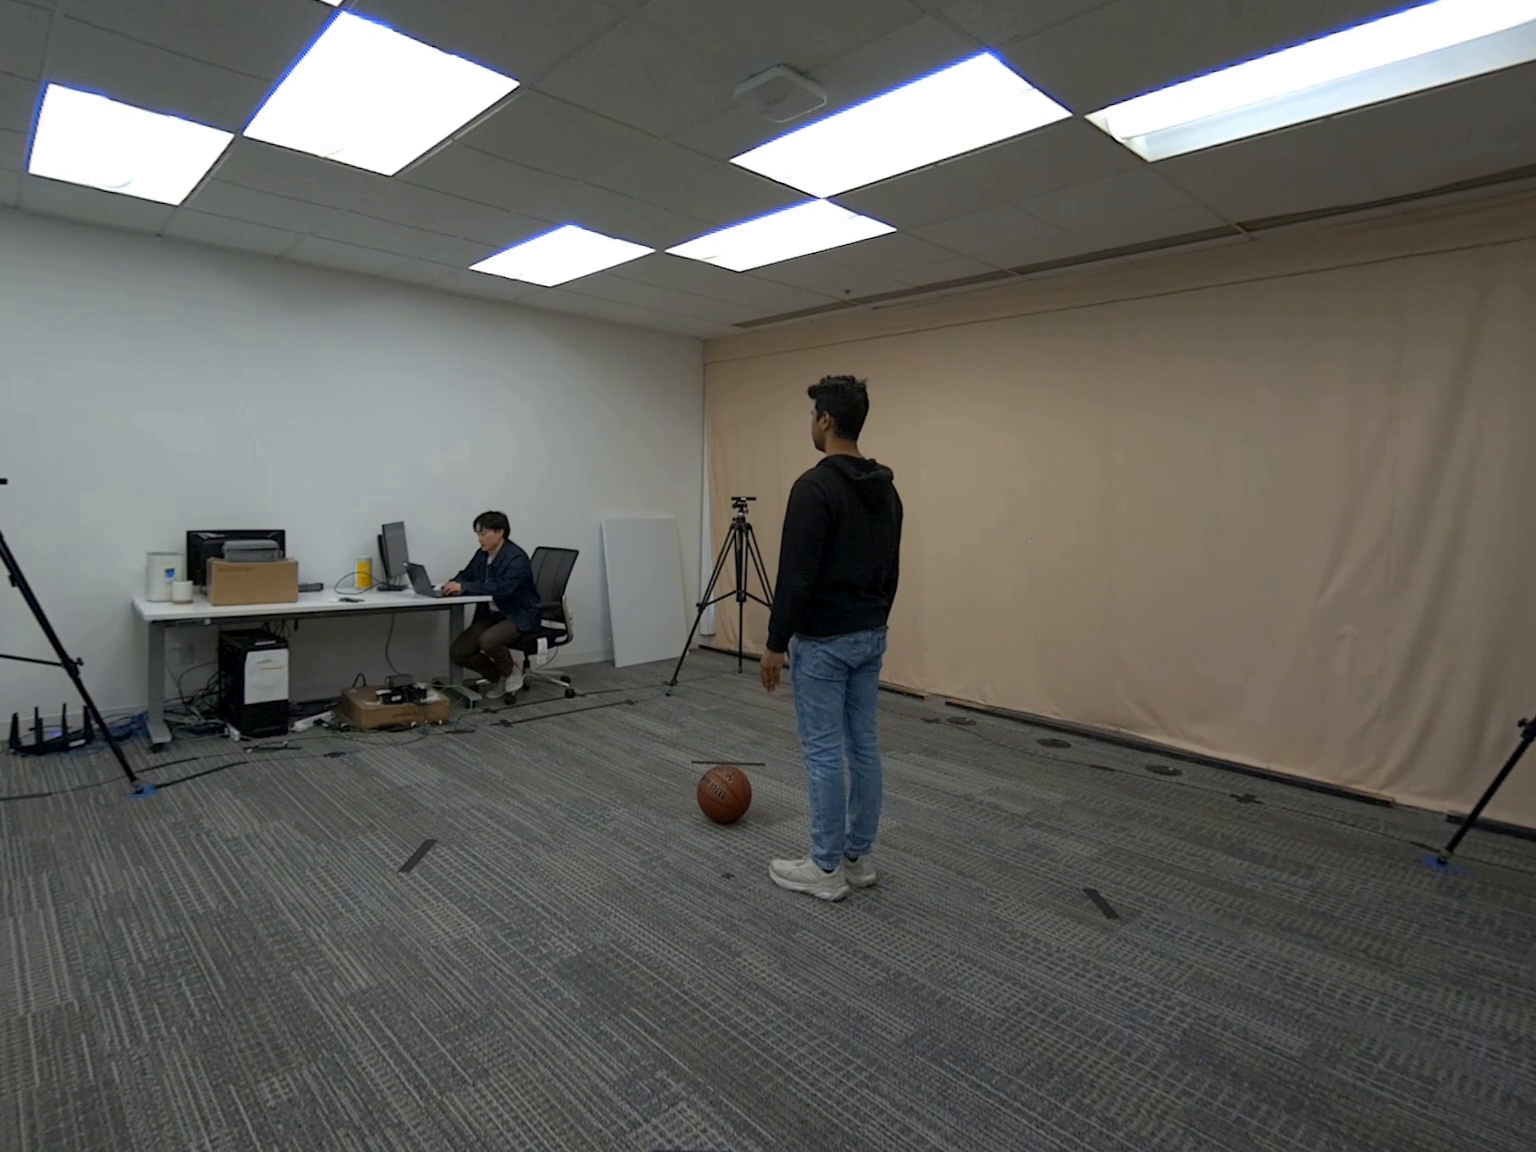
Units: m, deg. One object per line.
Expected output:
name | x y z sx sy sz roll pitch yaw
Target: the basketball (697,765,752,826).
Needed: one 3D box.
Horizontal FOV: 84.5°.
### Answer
basketball | -0.198 0.939 3.636 0.236 0.235 0.237 1 4 -1
